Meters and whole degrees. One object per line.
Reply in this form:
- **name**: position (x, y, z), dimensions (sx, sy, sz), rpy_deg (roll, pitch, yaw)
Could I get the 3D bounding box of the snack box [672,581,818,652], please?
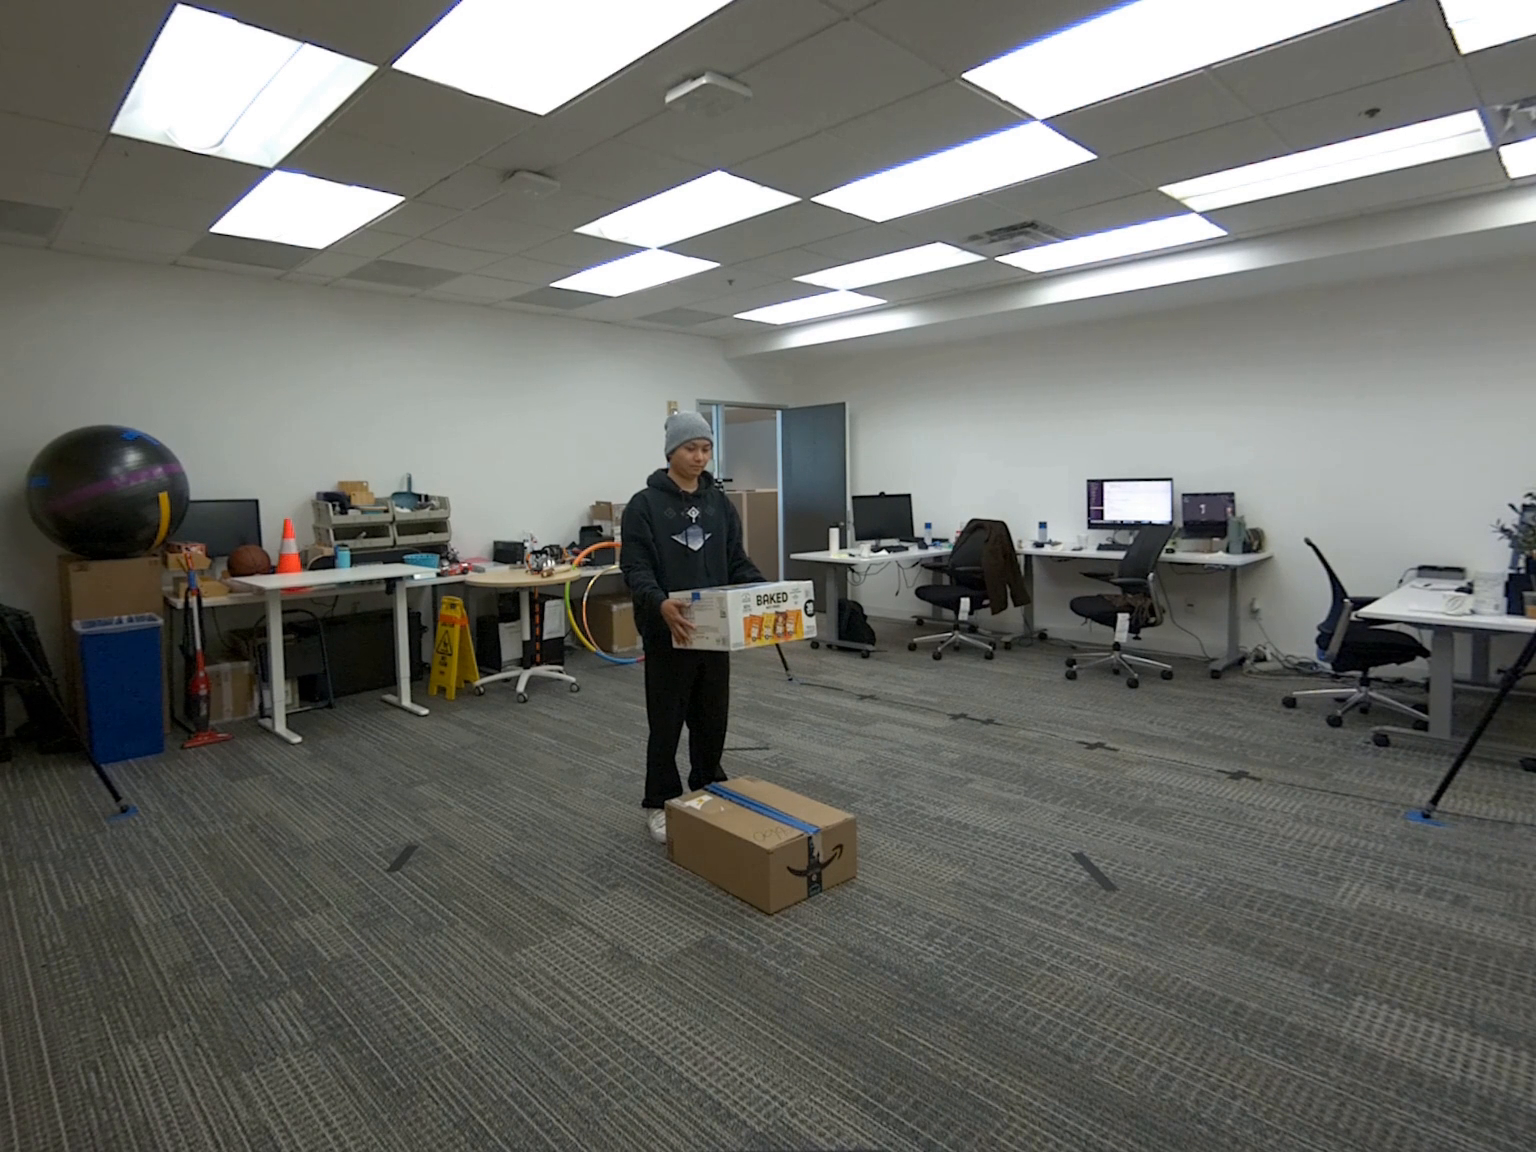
- **snack box**: position (-0.089, 0.140, 3.087), dimensions (0.394, 0.206, 0.349), rpy_deg (-5, 1, -39)
